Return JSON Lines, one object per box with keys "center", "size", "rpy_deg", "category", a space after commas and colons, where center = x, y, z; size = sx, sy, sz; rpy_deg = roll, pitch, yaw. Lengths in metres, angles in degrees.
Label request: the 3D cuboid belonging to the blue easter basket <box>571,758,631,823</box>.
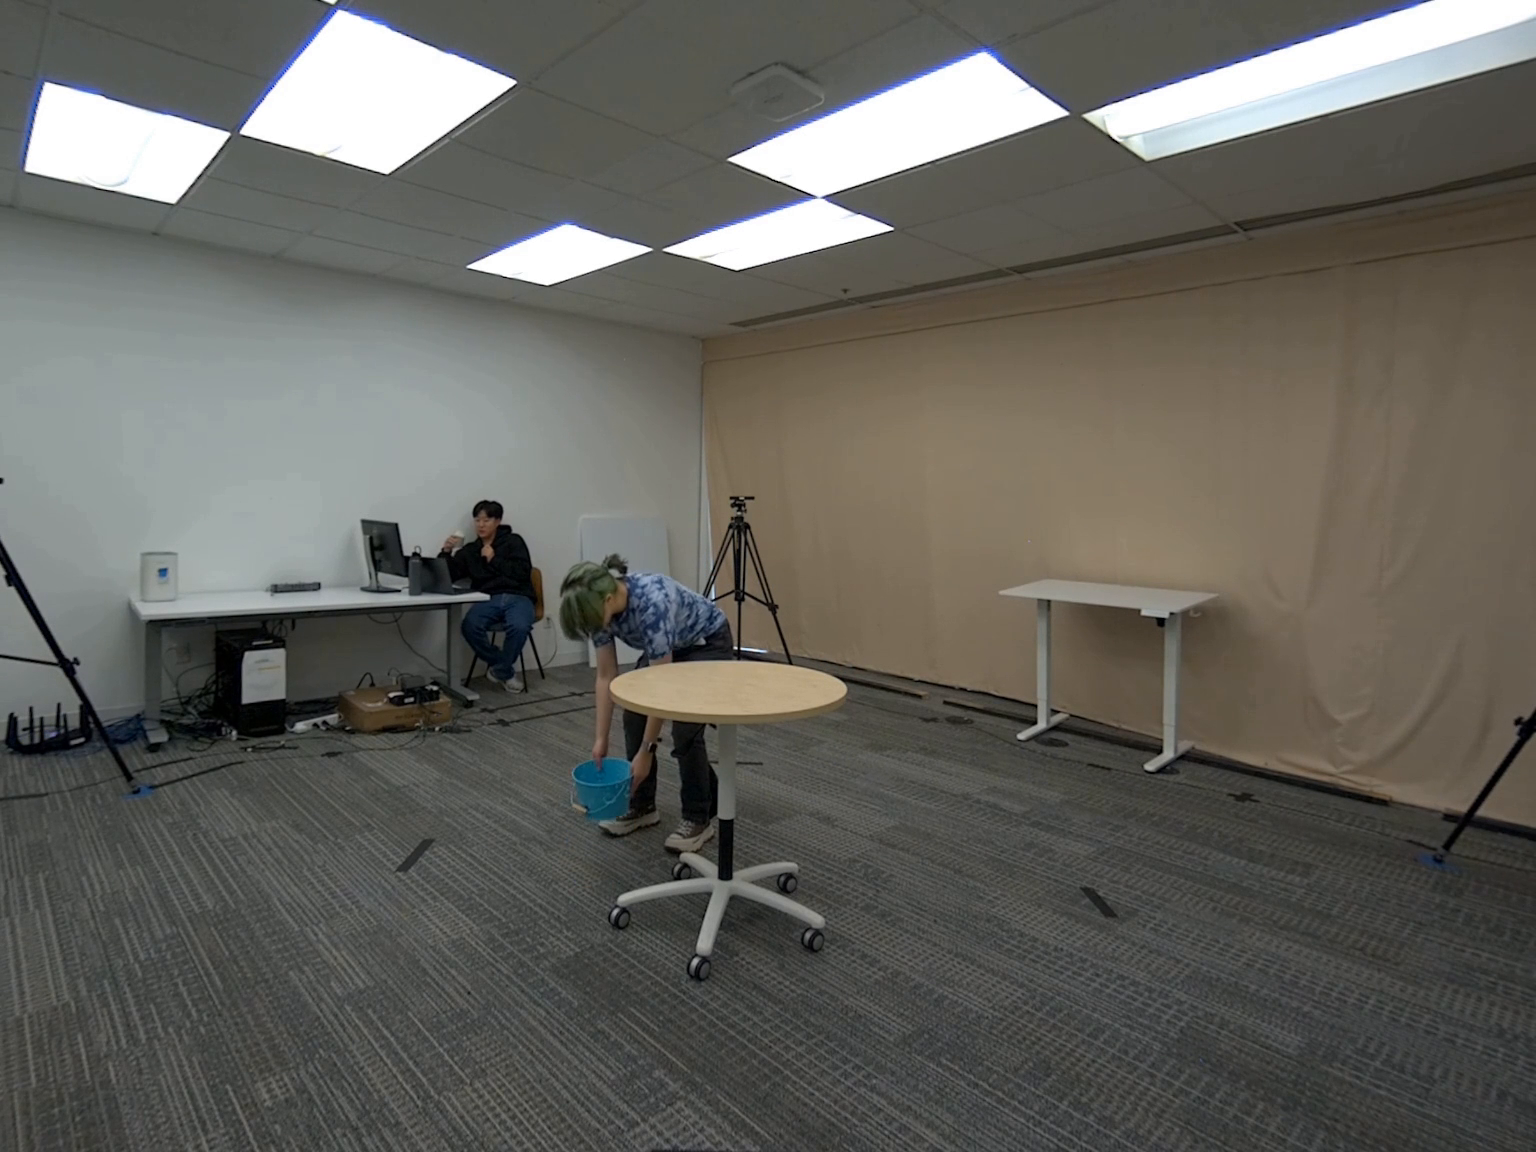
{"center": [-0.635, 0.801, 3.130], "size": [0.243, 0.155, 0.245], "rpy_deg": [1, 10, -2], "category": "blue easter basket"}
